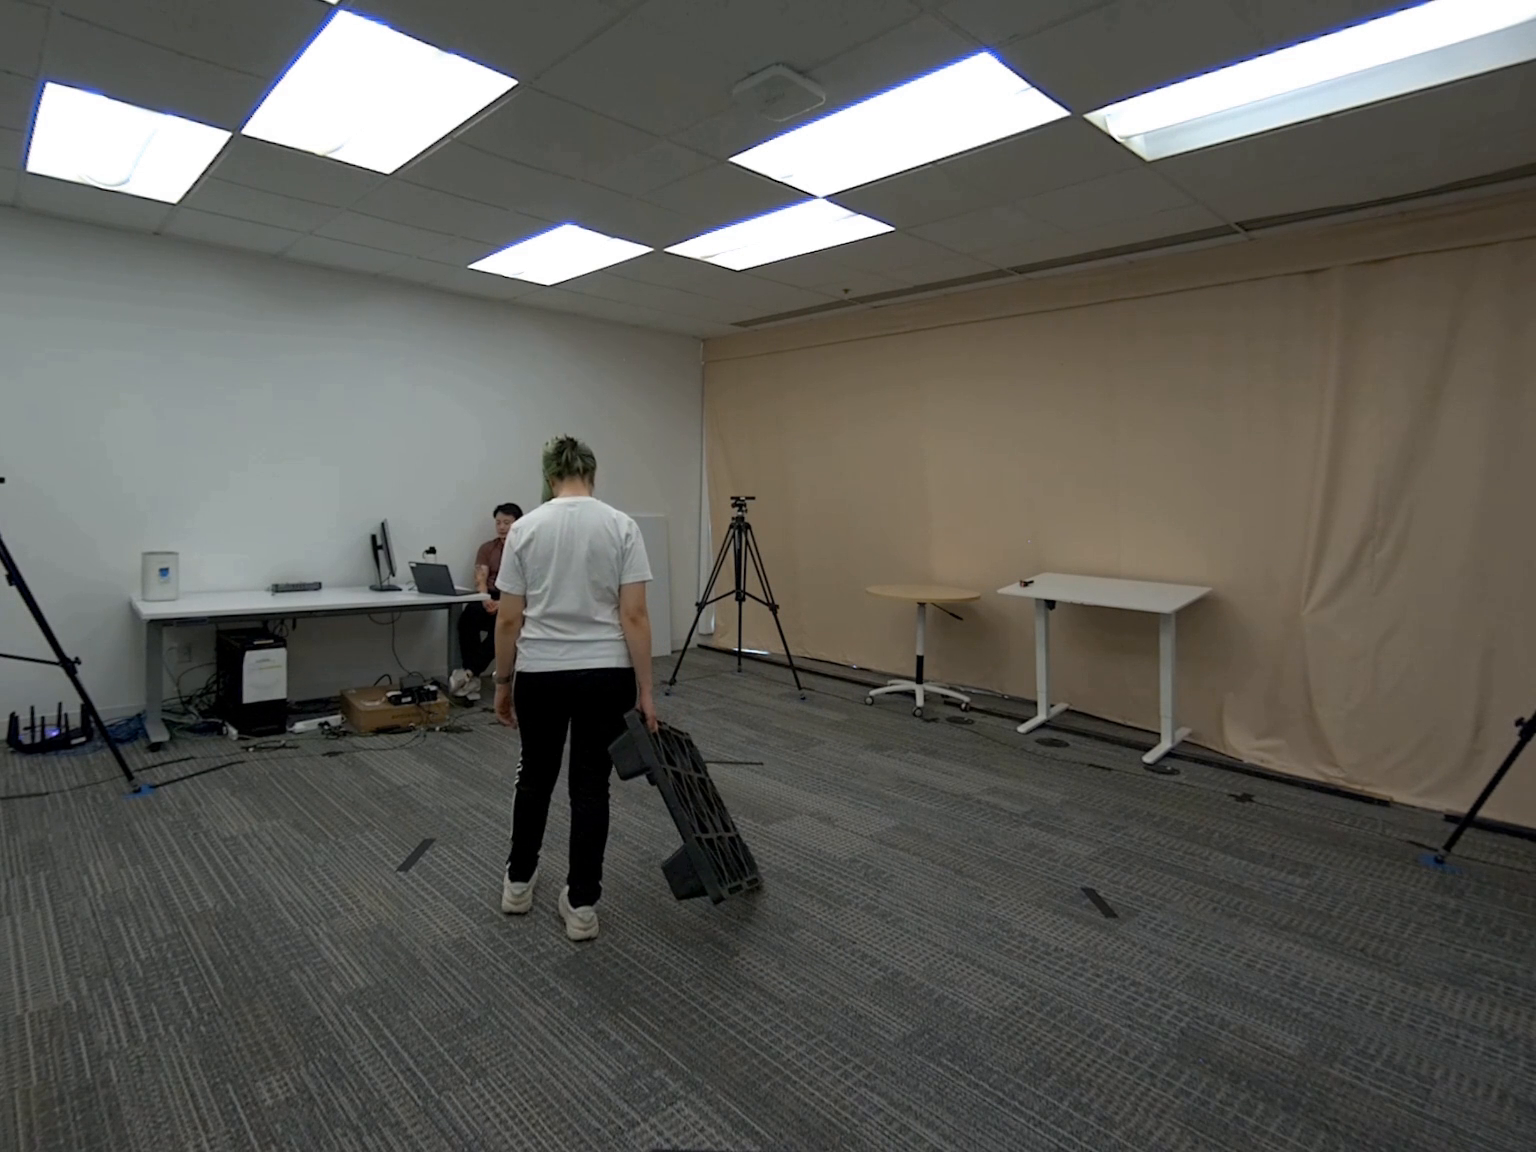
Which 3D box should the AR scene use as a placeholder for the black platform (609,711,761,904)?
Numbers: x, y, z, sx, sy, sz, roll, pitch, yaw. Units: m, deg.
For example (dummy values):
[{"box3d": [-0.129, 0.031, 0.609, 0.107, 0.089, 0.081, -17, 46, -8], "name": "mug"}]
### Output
[{"box3d": [-0.267, 0.783, 2.768, 0.143, 0.617, 0.790, -28, -19, -1], "name": "black platform"}]
